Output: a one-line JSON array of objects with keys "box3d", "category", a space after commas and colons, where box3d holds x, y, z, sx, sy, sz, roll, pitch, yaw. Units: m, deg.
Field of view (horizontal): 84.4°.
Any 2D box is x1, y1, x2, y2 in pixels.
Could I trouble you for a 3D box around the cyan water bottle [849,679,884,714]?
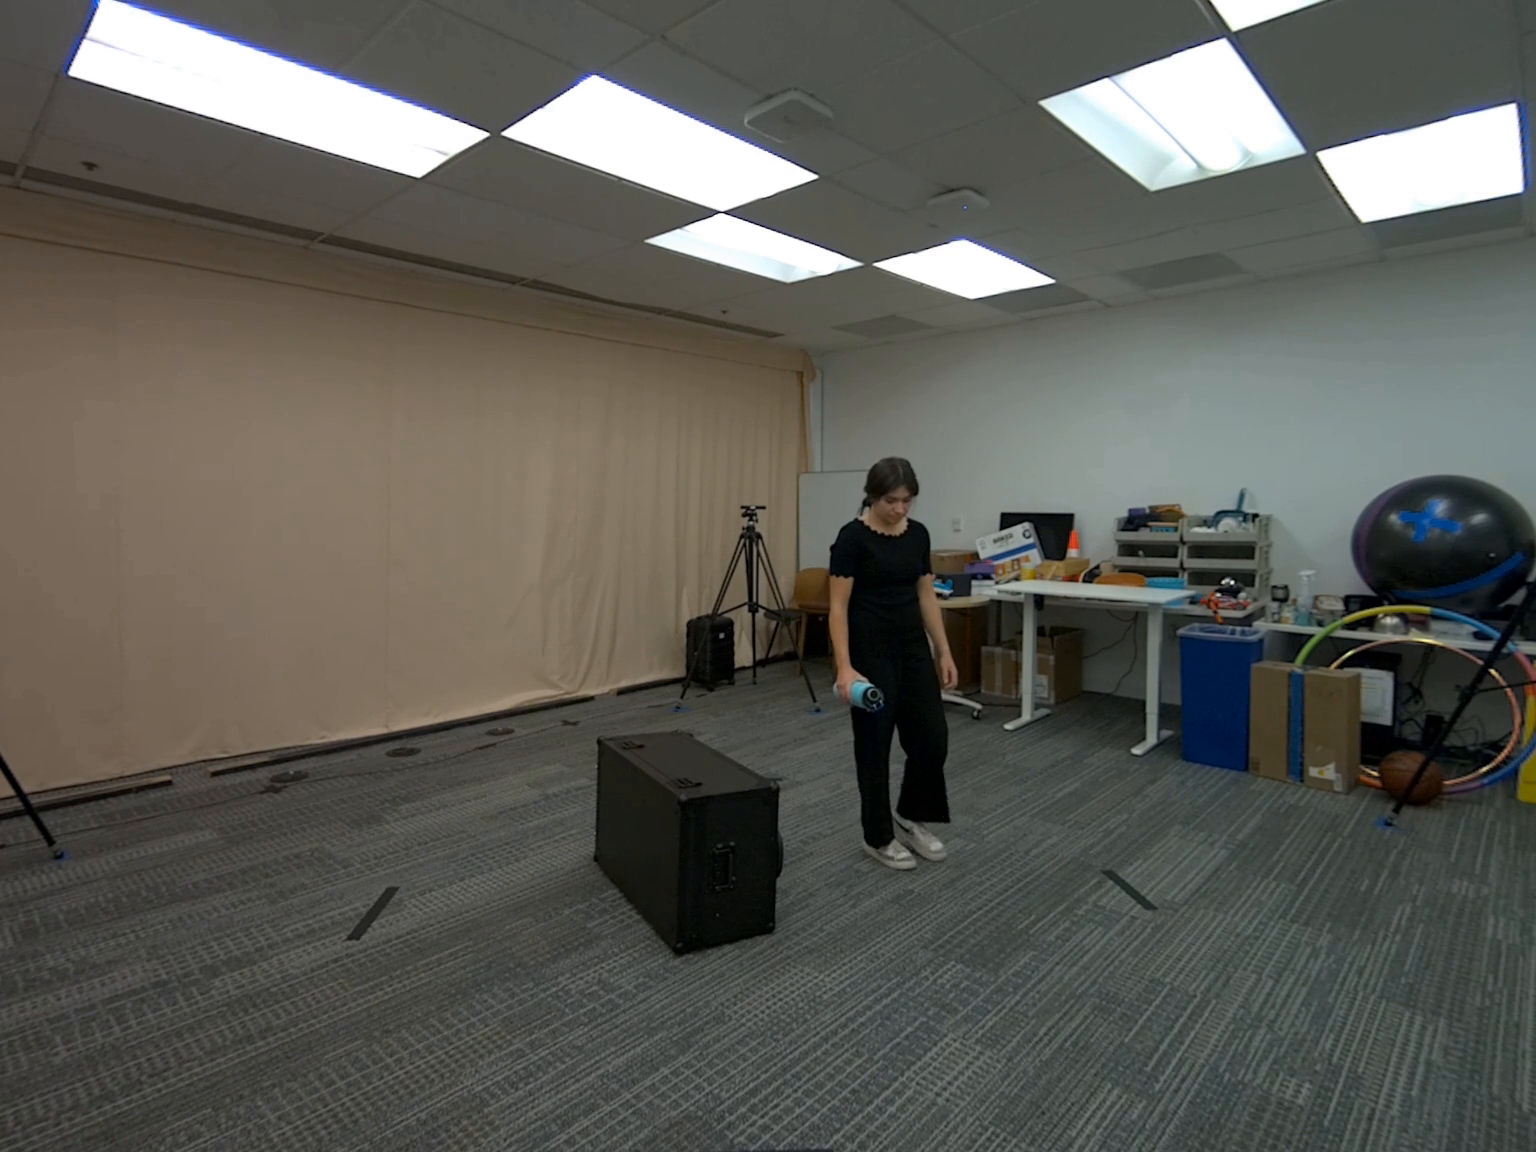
[{"box3d": [0.333, 0.428, 3.057, 0.091, 0.092, 0.287, -1, 2, -13], "category": "cyan water bottle"}]
